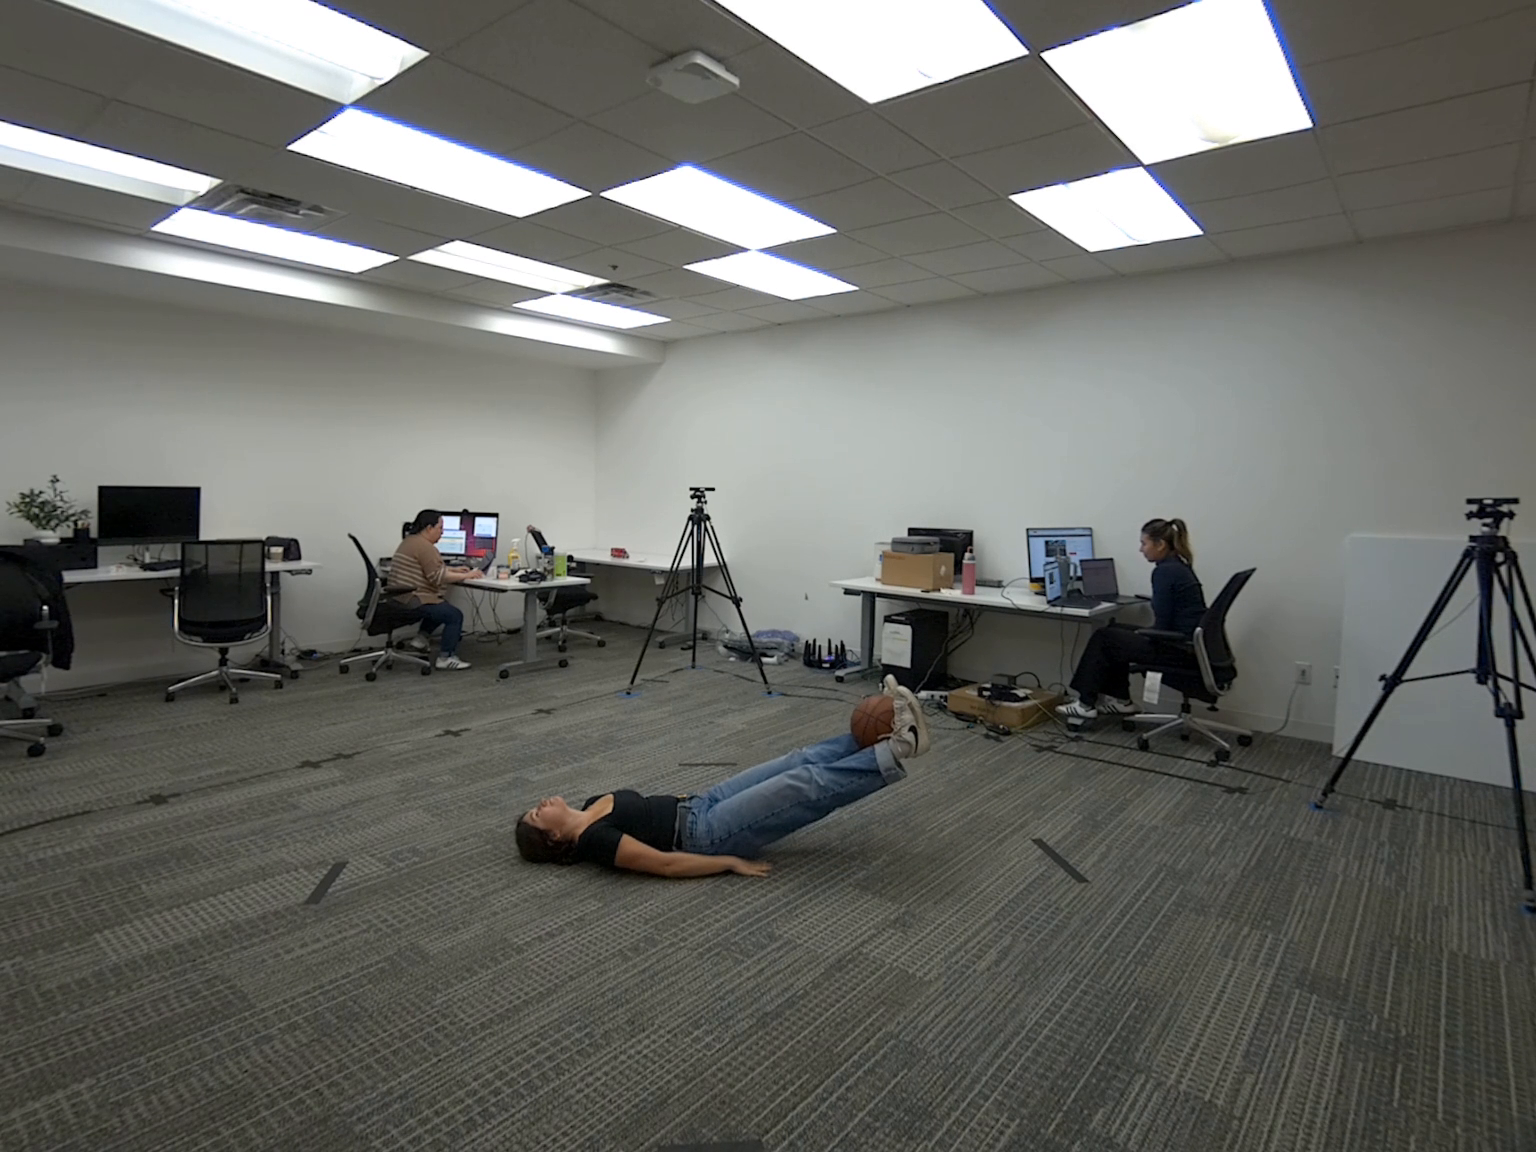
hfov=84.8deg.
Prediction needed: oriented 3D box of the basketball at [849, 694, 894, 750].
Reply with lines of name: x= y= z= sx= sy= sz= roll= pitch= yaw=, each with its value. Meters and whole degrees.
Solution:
basketball: x=0.430 y=0.579 z=3.294 sx=0.235 sy=0.235 sz=0.237 roll=1 pitch=4 yaw=-2
